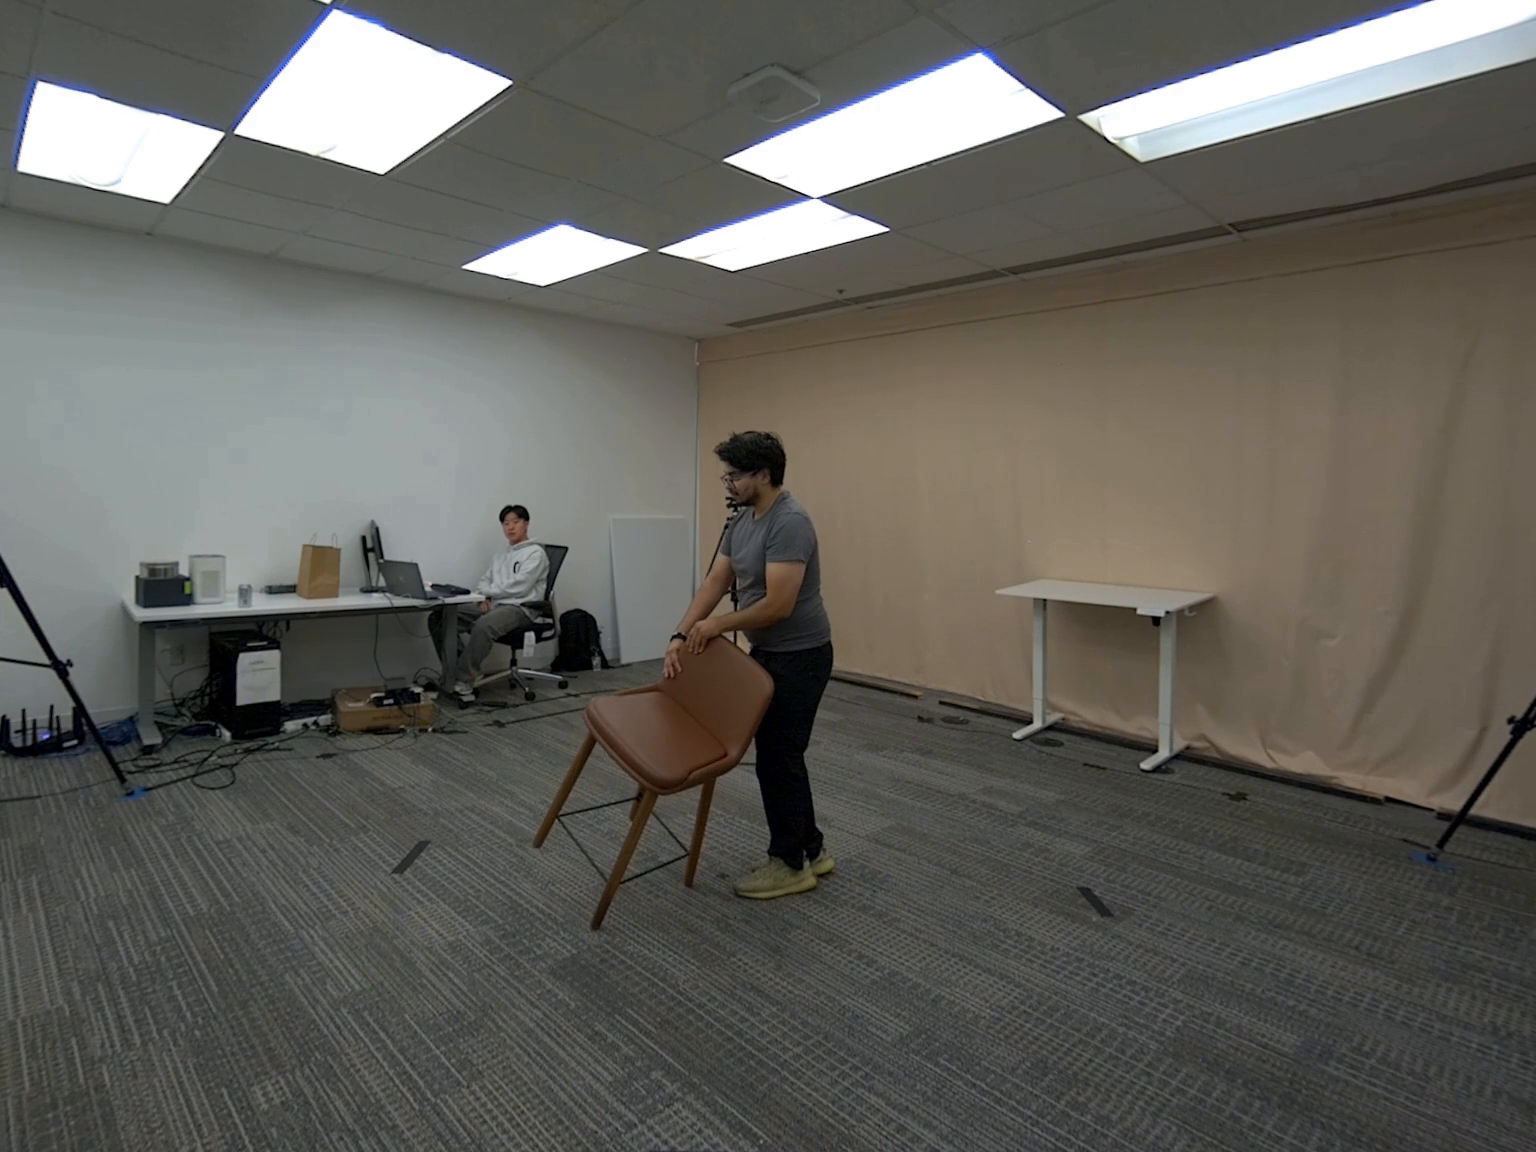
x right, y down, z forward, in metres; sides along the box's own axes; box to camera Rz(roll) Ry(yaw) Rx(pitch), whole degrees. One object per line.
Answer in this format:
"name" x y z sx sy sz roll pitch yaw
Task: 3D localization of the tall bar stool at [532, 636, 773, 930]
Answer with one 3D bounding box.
"tall bar stool" -0.390 0.654 2.834 0.456 0.884 0.471 3 26 -48
